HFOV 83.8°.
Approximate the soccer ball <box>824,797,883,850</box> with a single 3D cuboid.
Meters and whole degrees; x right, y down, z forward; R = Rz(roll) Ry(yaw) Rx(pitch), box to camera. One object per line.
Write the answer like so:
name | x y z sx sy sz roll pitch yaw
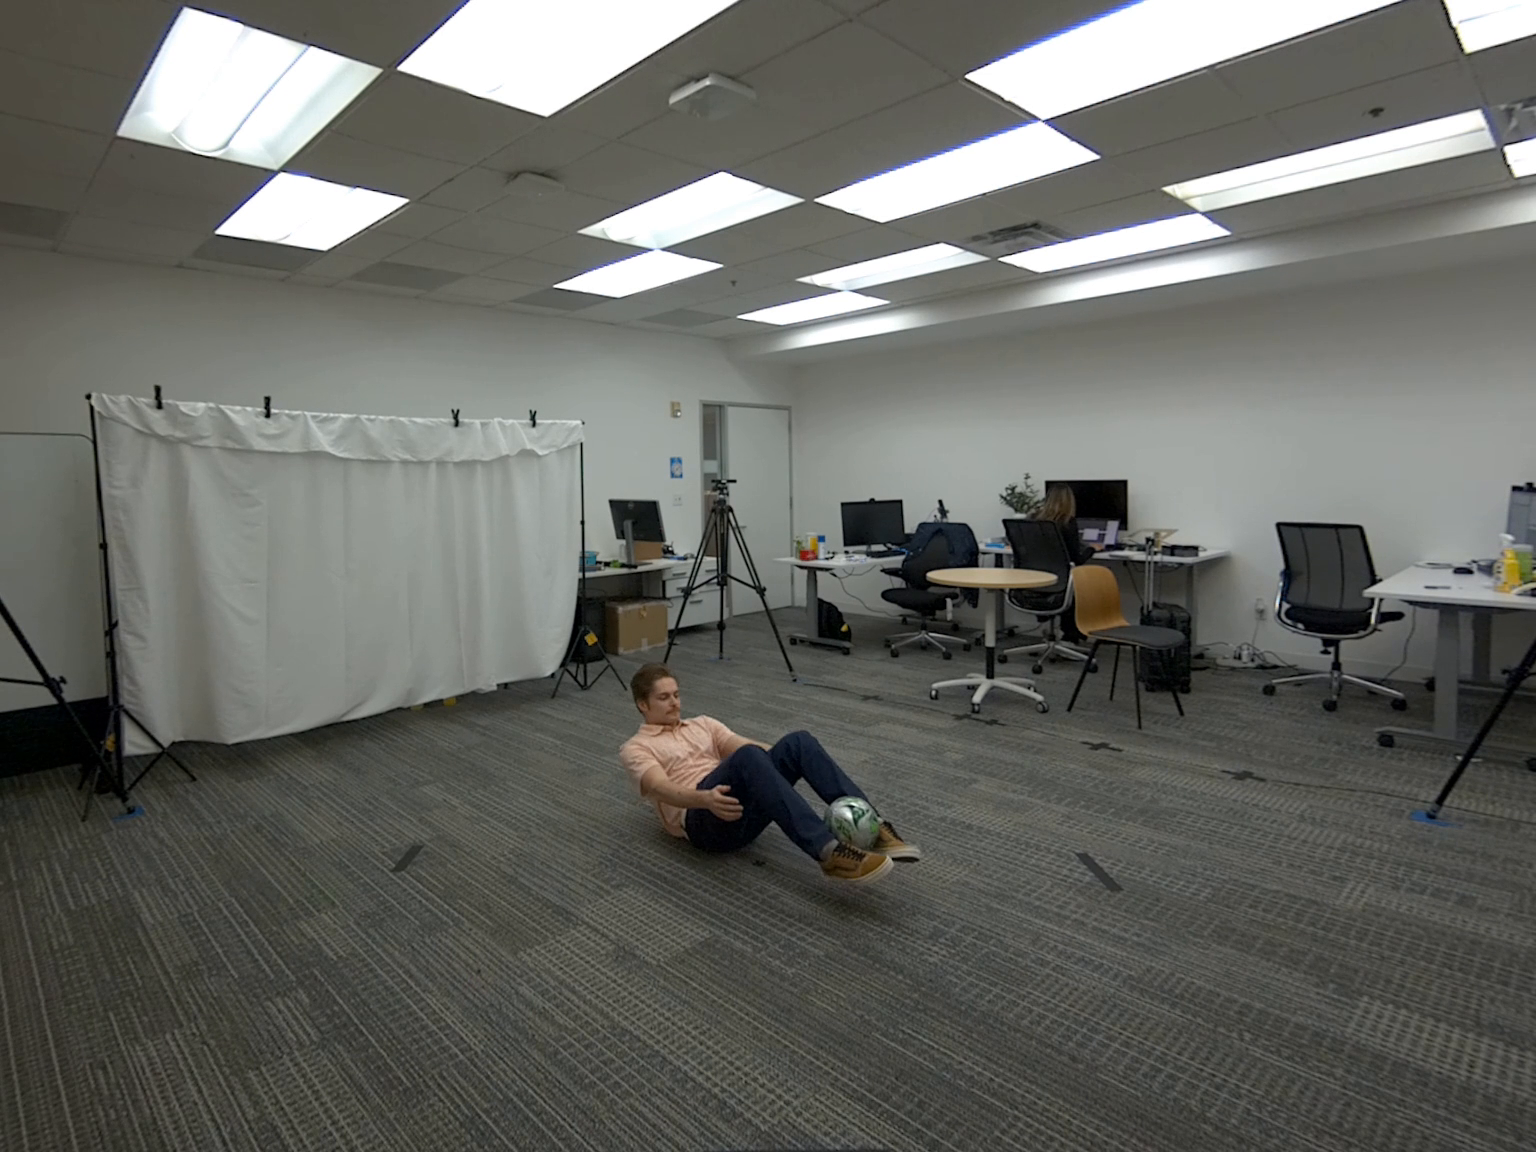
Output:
soccer ball | 0.263 0.824 2.828 0.187 0.187 0.188 -1 5 -2
